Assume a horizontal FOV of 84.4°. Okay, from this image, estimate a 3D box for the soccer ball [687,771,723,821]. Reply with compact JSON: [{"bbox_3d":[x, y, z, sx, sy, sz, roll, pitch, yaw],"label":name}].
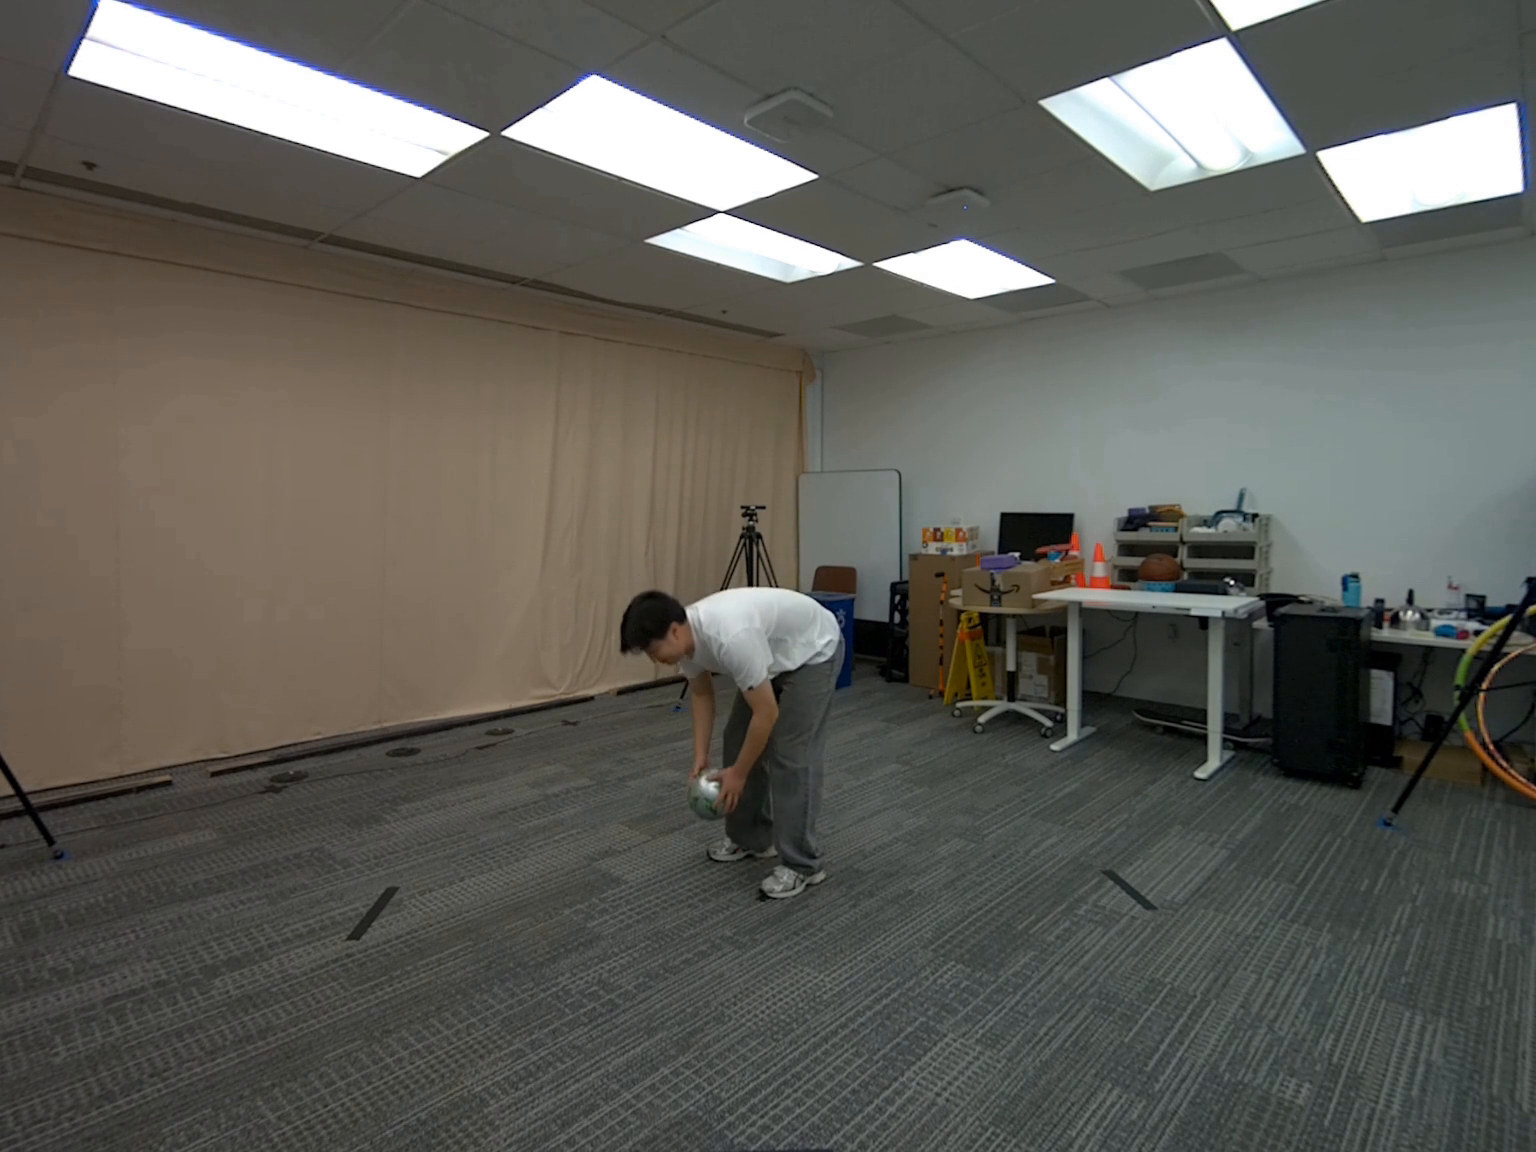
[{"bbox_3d":[-0.209,0.848,3.161,0.187,0.187,0.188,0,4,-2],"label":"soccer ball"}]
